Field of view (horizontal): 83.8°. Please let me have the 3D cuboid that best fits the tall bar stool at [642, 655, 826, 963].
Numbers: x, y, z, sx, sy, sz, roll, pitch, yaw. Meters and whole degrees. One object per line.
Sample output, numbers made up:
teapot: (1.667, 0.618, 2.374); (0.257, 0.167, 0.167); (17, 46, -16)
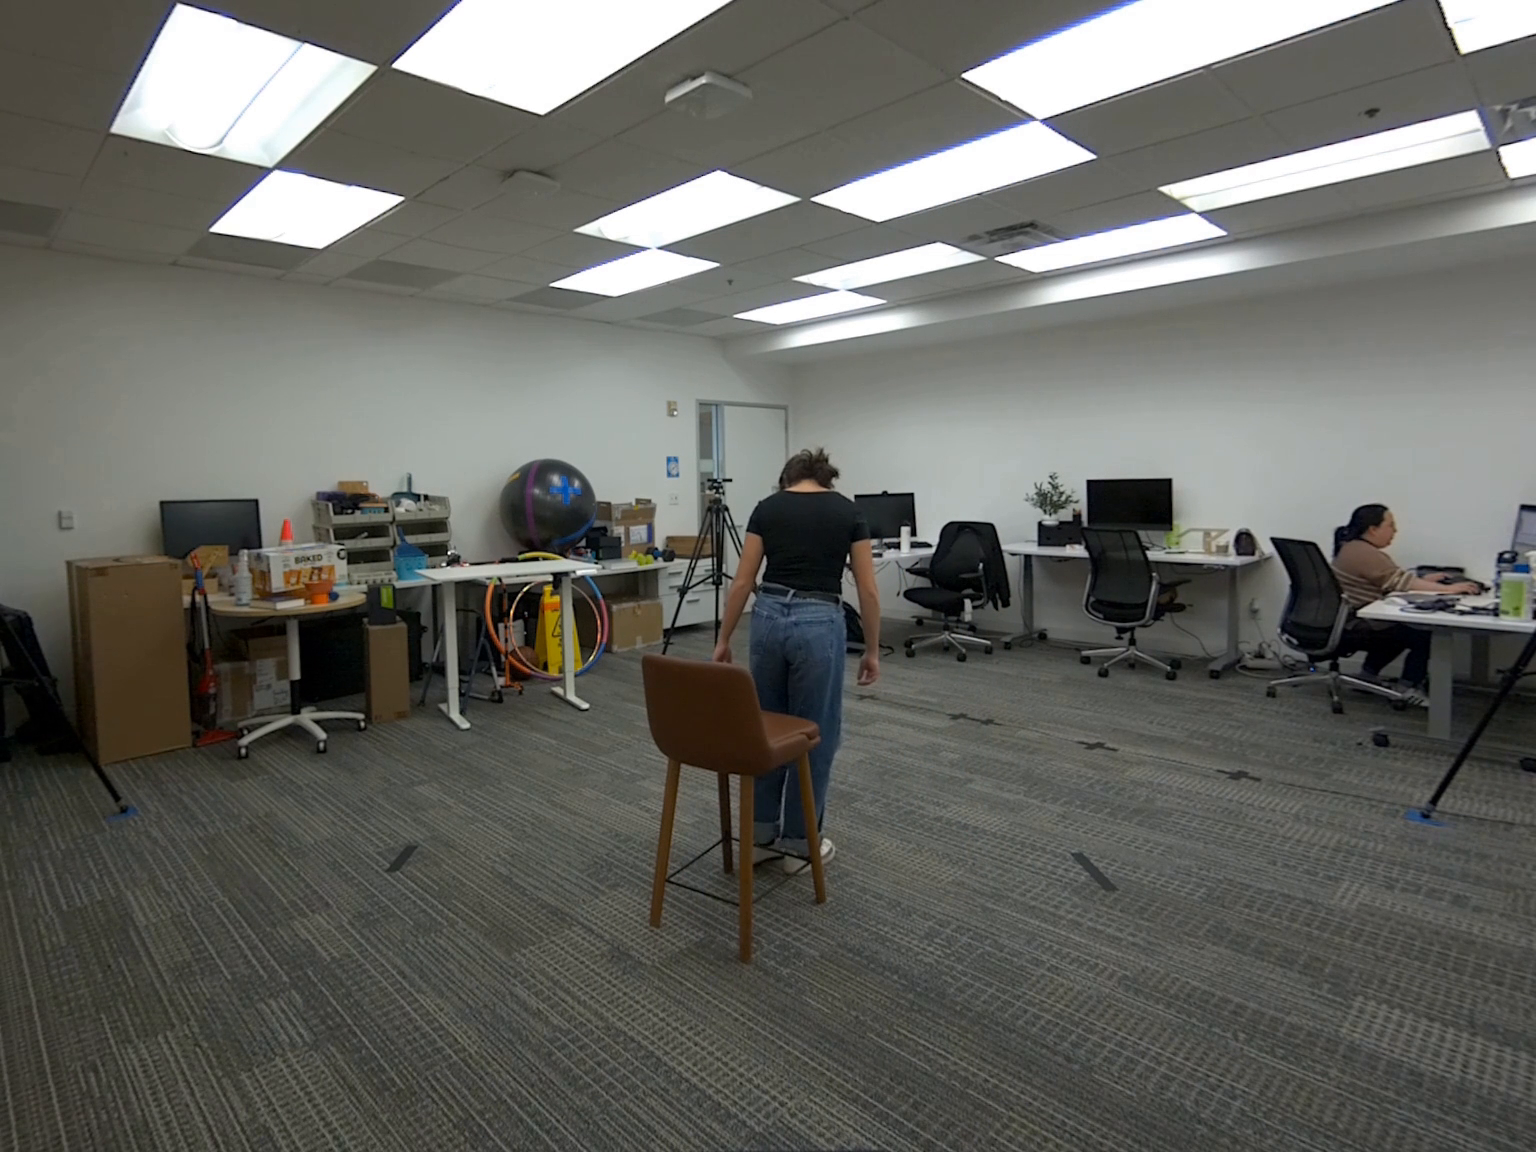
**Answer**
tall bar stool: (-0.108, 0.657, 2.724); (0.469, 0.885, 0.457); (2, 7, 35)
